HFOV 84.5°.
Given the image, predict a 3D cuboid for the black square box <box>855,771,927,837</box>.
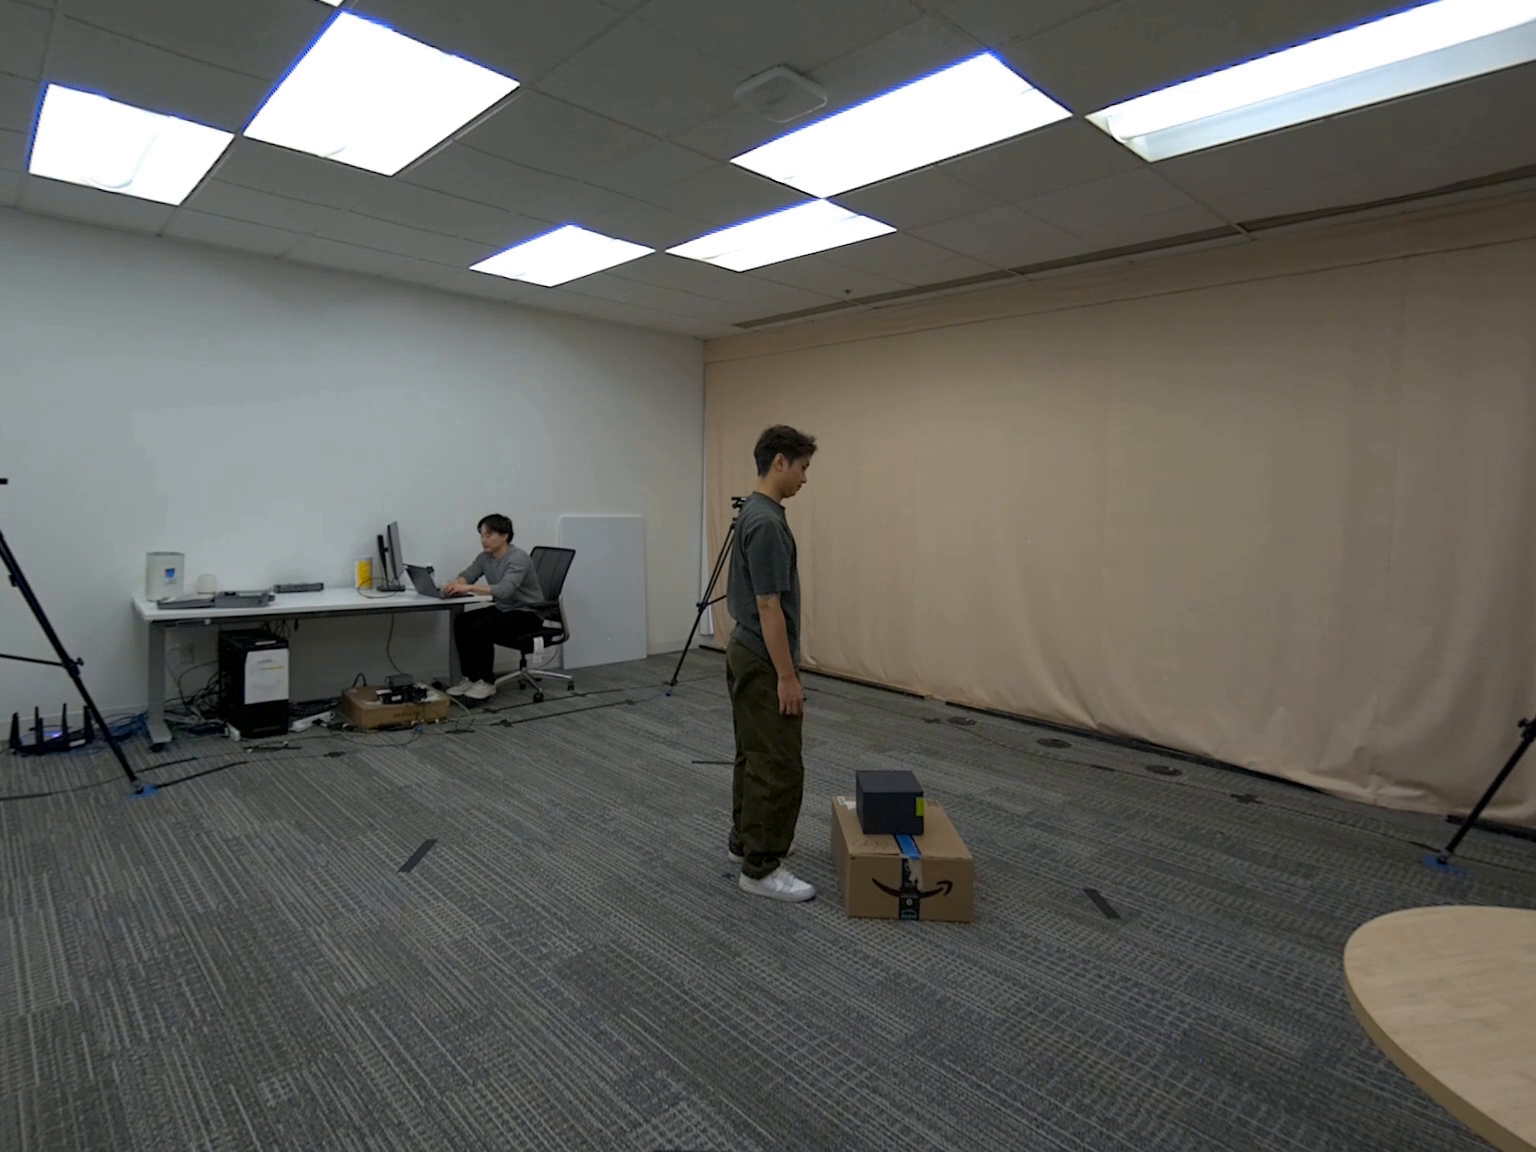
[{"bbox_3d":[0.441,0.824,3.079,0.217,0.155,0.228,0,4,0],"label":"black square box"}]
